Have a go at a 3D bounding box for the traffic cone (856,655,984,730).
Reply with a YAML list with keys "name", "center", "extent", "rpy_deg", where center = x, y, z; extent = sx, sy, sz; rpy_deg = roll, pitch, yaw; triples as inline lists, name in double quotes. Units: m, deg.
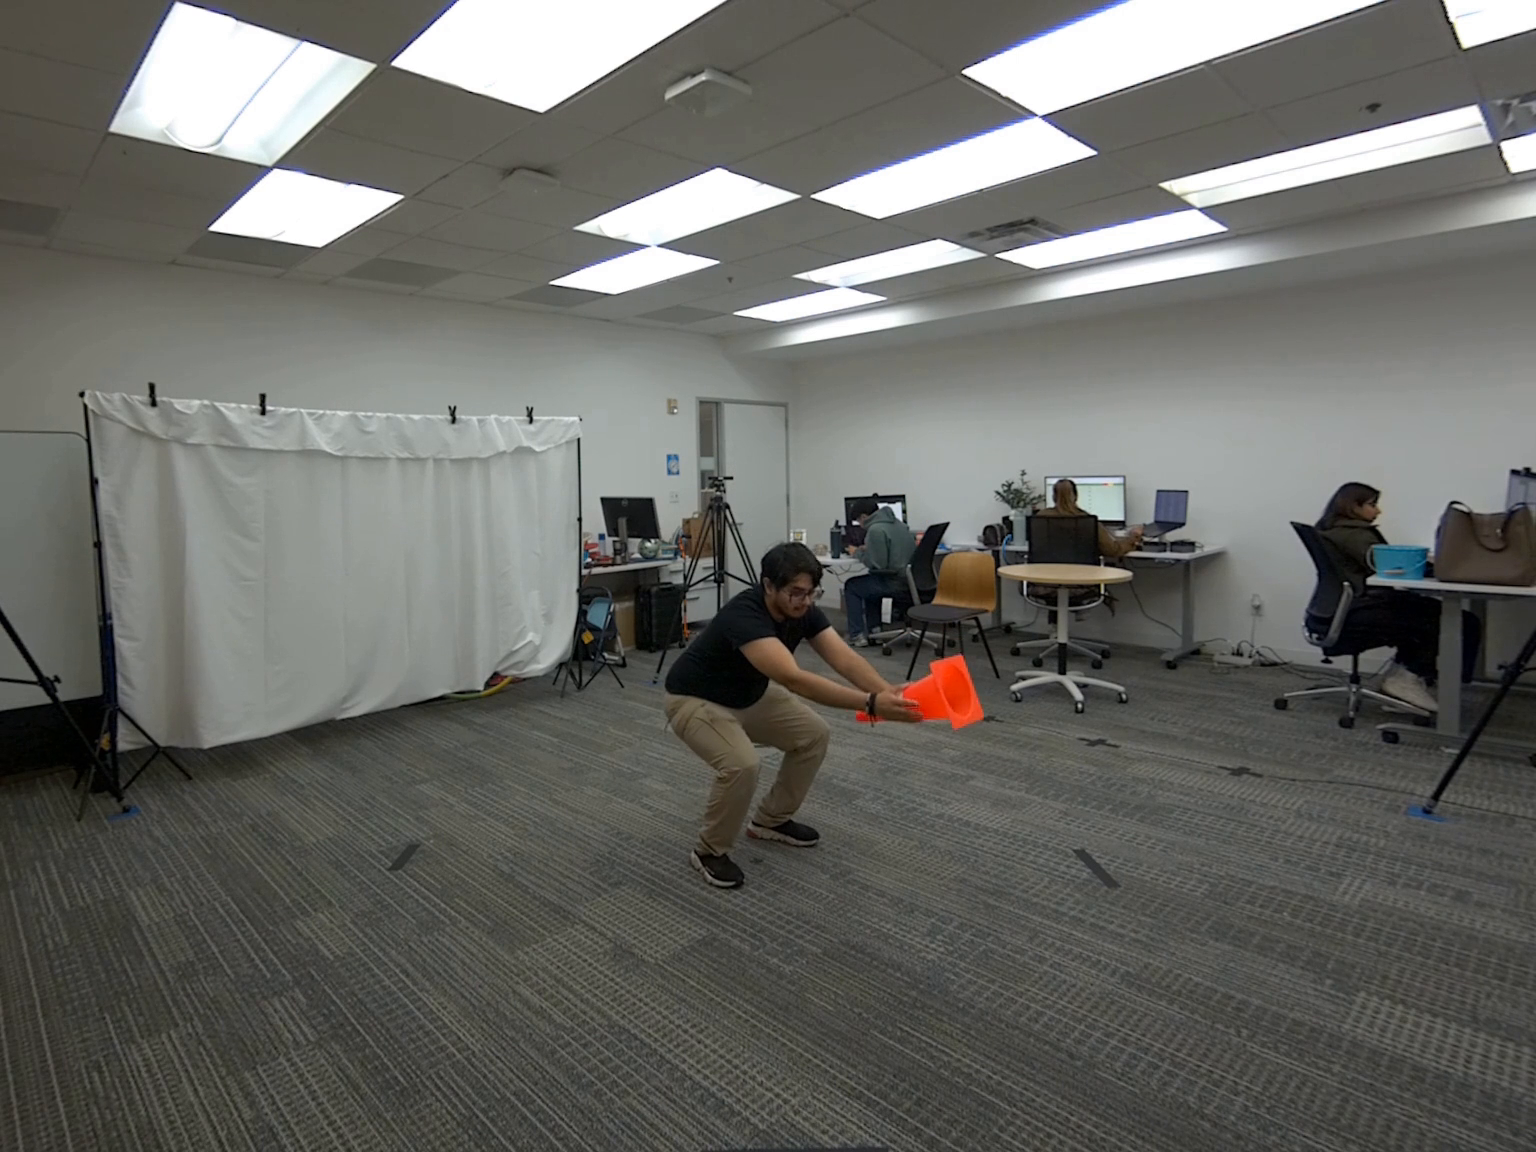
- name: "traffic cone"
  center: [0.443, 0.391, 2.666]
  extent: [0.389, 0.206, 0.199]
  rpy_deg: [-23, -12, 40]
